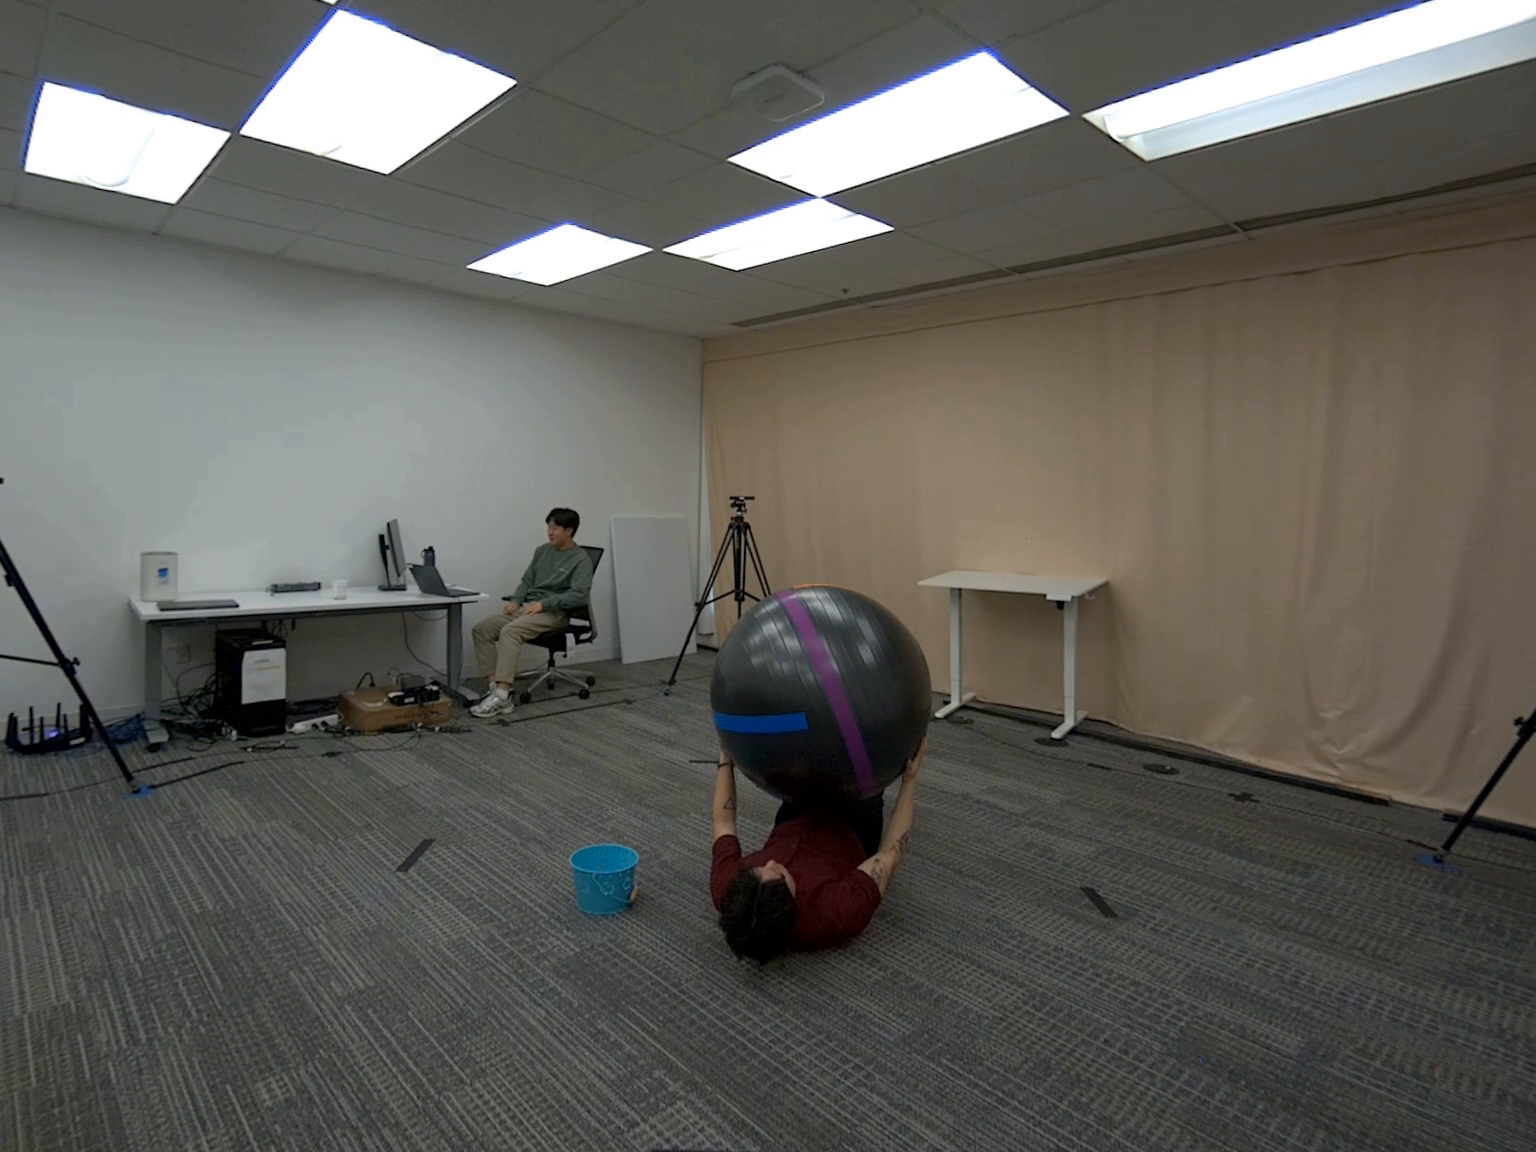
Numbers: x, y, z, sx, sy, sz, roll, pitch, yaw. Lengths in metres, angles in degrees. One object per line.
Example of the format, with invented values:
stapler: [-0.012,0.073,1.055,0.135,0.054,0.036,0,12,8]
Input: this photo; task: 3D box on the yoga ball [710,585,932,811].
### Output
yoga ball: [0.177,0.413,2.933,0.757,0.756,0.761,1,4,-1]
